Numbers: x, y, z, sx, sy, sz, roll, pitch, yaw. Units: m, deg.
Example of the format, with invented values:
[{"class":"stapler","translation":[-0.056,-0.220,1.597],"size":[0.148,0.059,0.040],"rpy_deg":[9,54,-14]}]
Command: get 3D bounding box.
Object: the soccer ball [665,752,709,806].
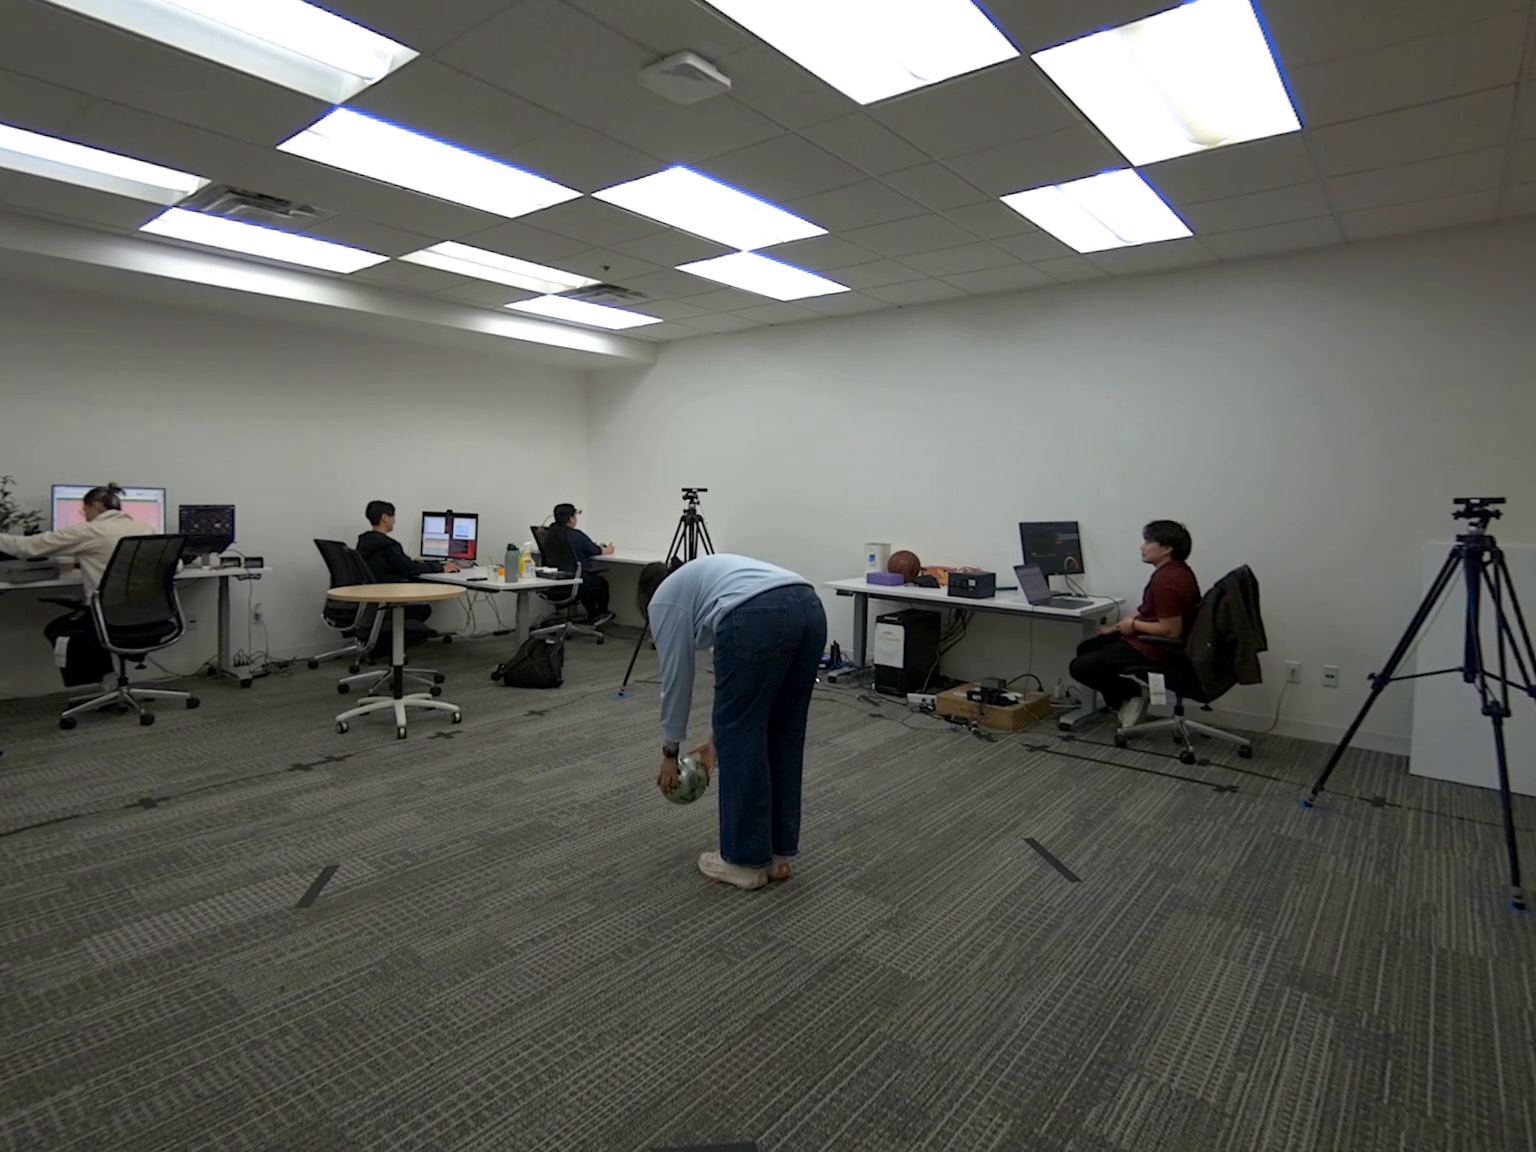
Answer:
[{"class":"soccer ball","translation":[-0.343,0.781,3.294],"size":[0.187,0.187,0.188],"rpy_deg":[1,4,-2]}]
